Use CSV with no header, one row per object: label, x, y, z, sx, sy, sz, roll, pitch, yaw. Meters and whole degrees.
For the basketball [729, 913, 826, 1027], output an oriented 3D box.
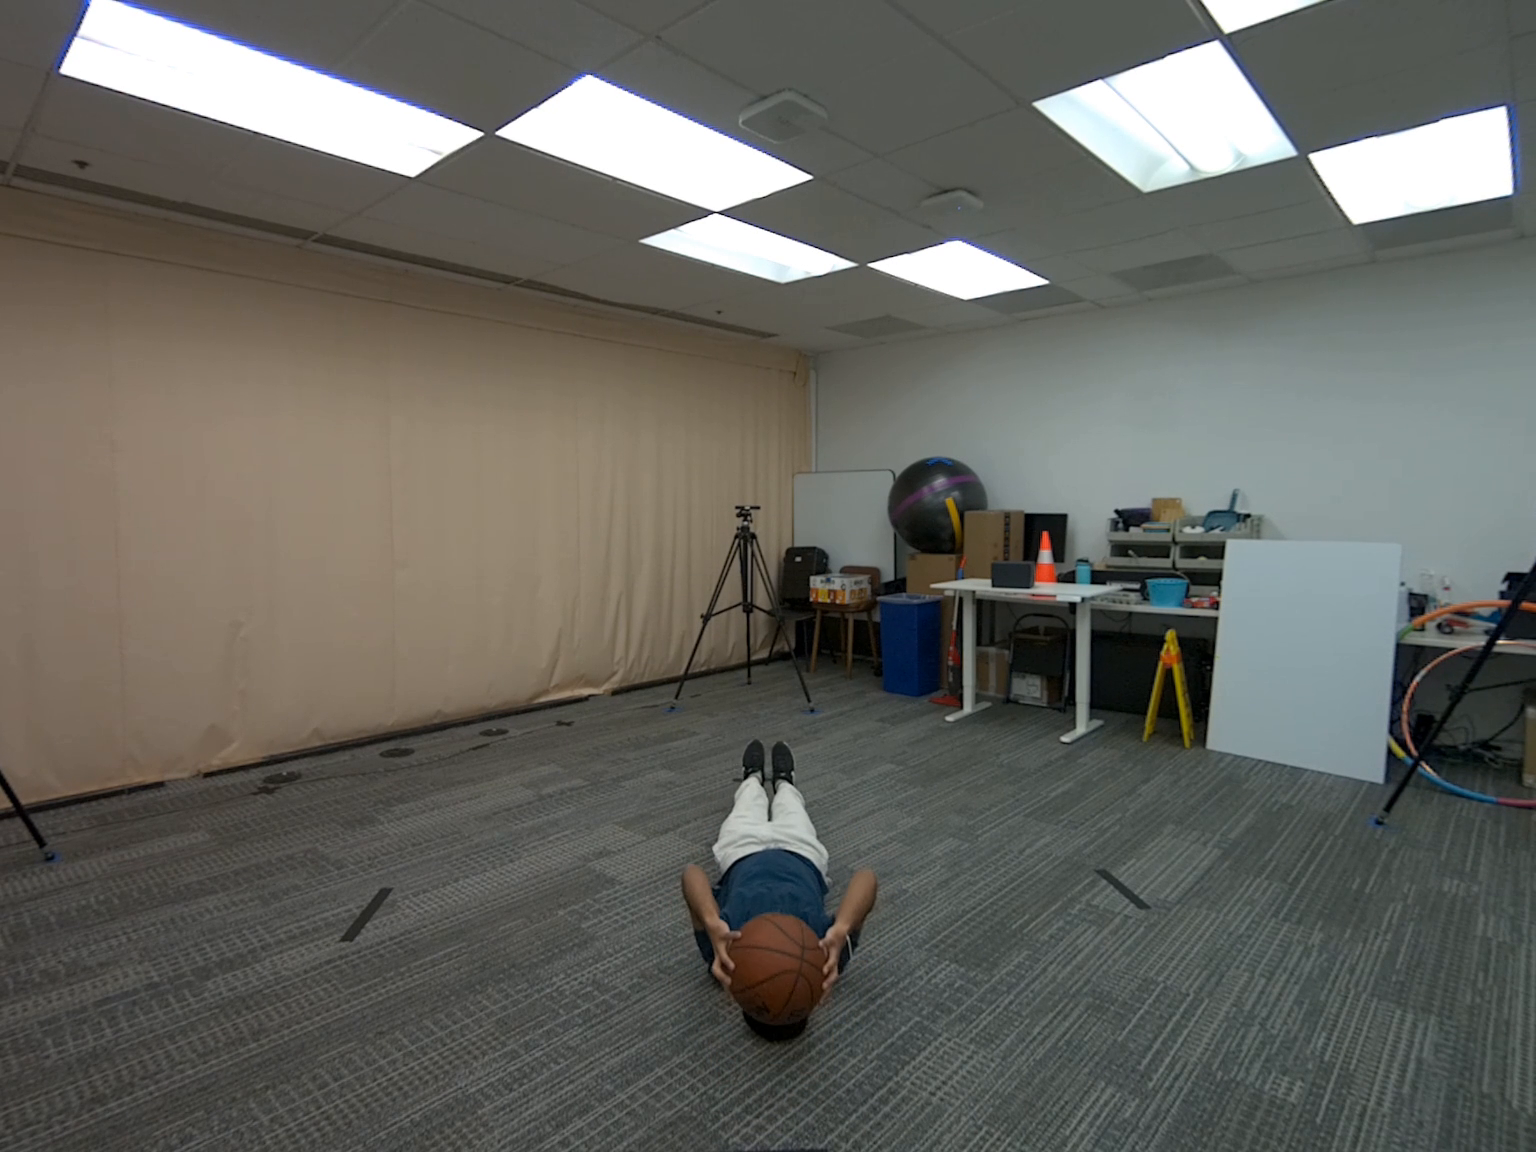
basketball,0.024,0.926,1.987,0.236,0.235,0.237,0,4,-2
